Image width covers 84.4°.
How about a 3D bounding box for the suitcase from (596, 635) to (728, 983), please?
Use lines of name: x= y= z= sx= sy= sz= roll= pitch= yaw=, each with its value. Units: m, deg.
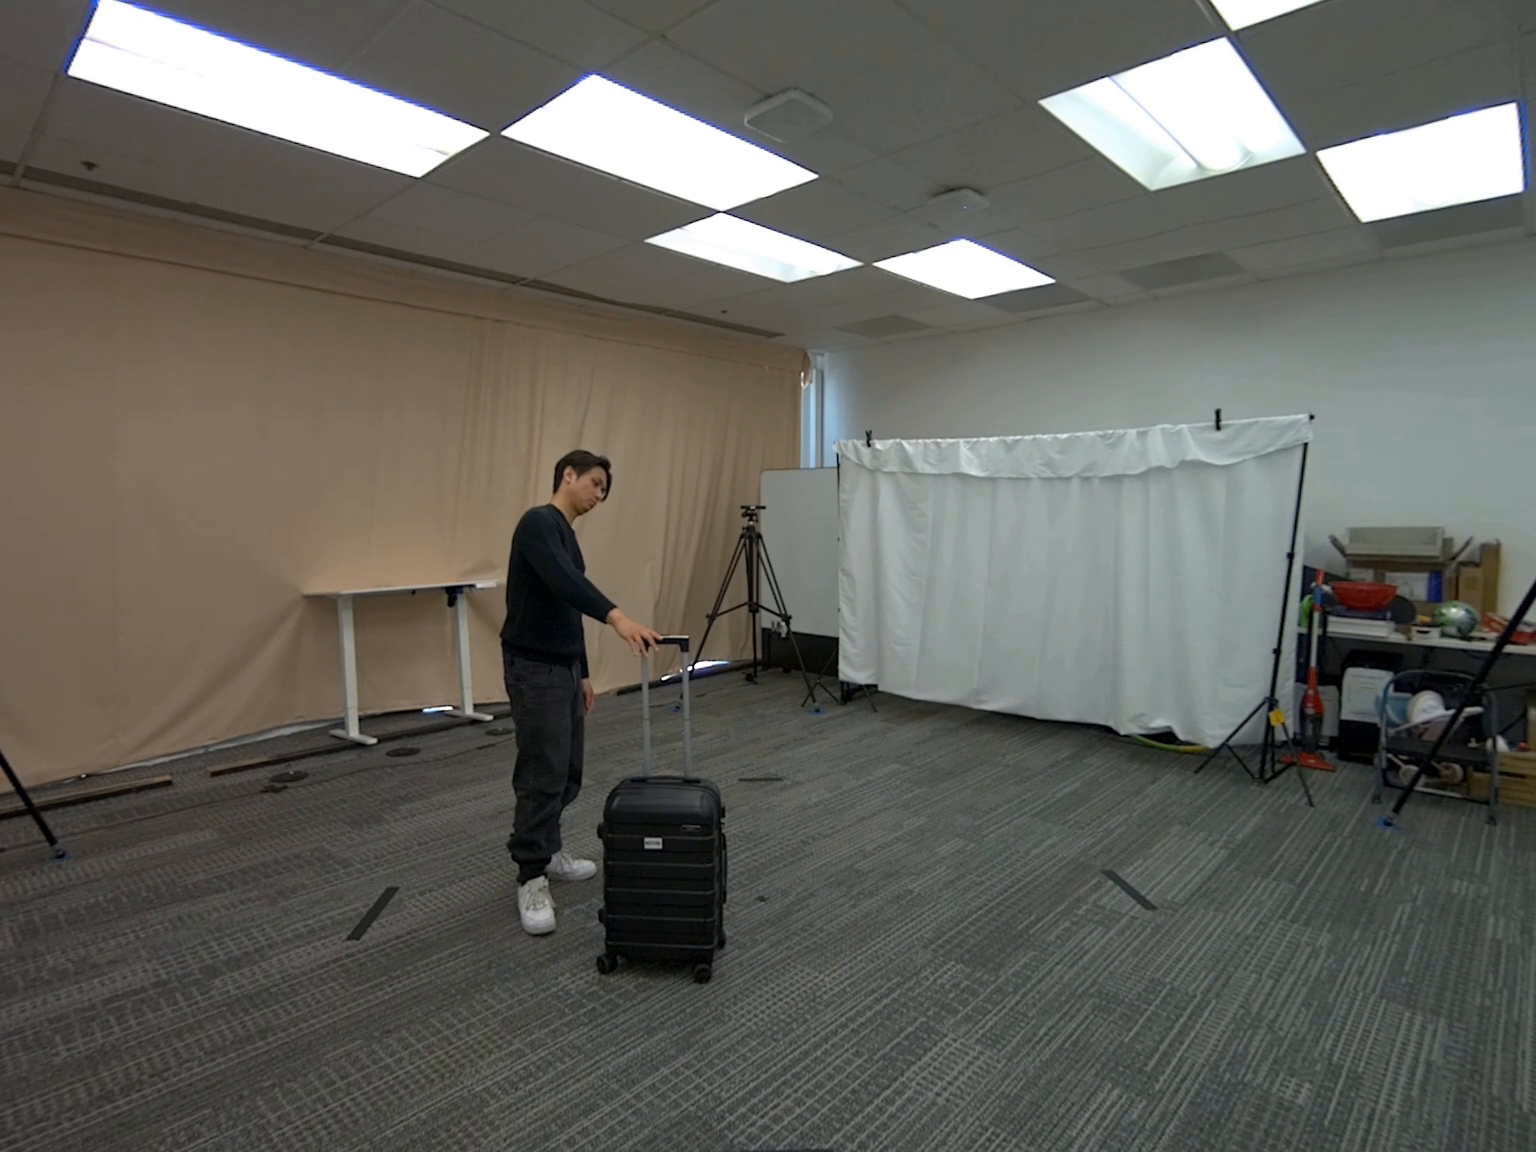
suitcase: x=-0.320 y=0.704 z=2.565 sx=0.386 sy=0.976 sz=0.256 roll=0 pitch=4 yaw=4
